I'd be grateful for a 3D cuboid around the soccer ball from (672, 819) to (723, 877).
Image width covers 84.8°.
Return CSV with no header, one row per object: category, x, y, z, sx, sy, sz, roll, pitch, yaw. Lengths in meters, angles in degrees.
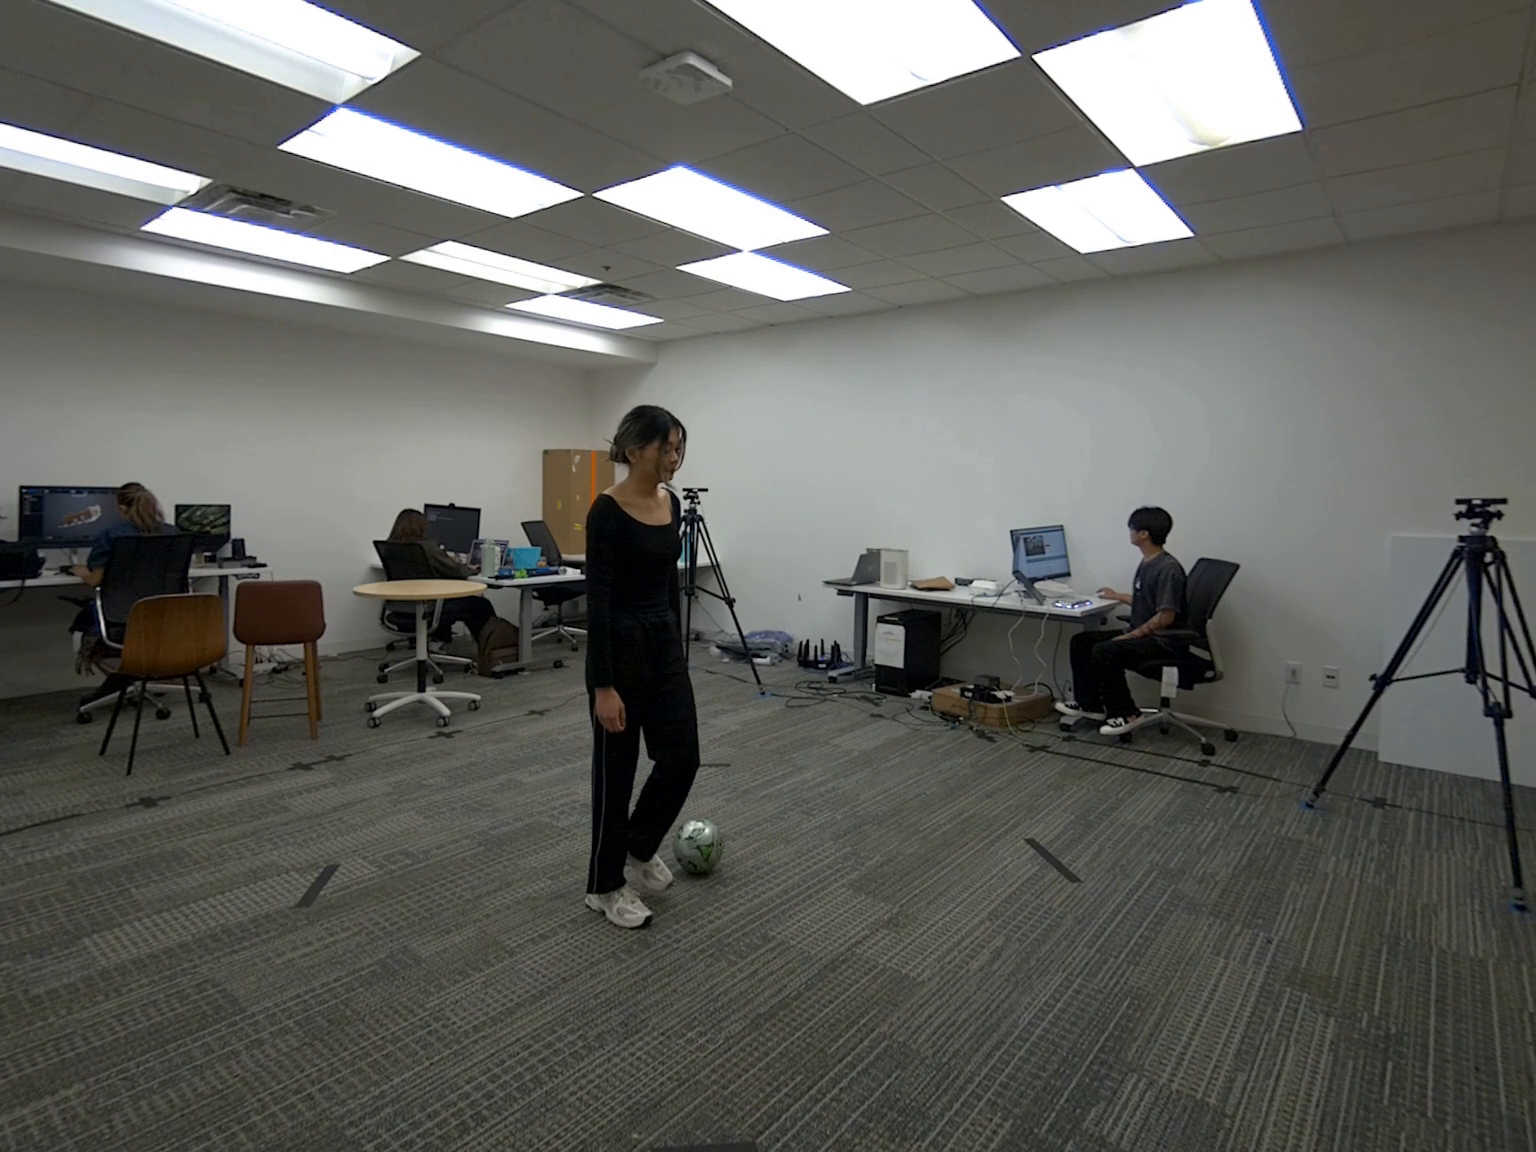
soccer ball,-0.264,0.975,3.092,0.187,0.187,0.188,1,4,-2
